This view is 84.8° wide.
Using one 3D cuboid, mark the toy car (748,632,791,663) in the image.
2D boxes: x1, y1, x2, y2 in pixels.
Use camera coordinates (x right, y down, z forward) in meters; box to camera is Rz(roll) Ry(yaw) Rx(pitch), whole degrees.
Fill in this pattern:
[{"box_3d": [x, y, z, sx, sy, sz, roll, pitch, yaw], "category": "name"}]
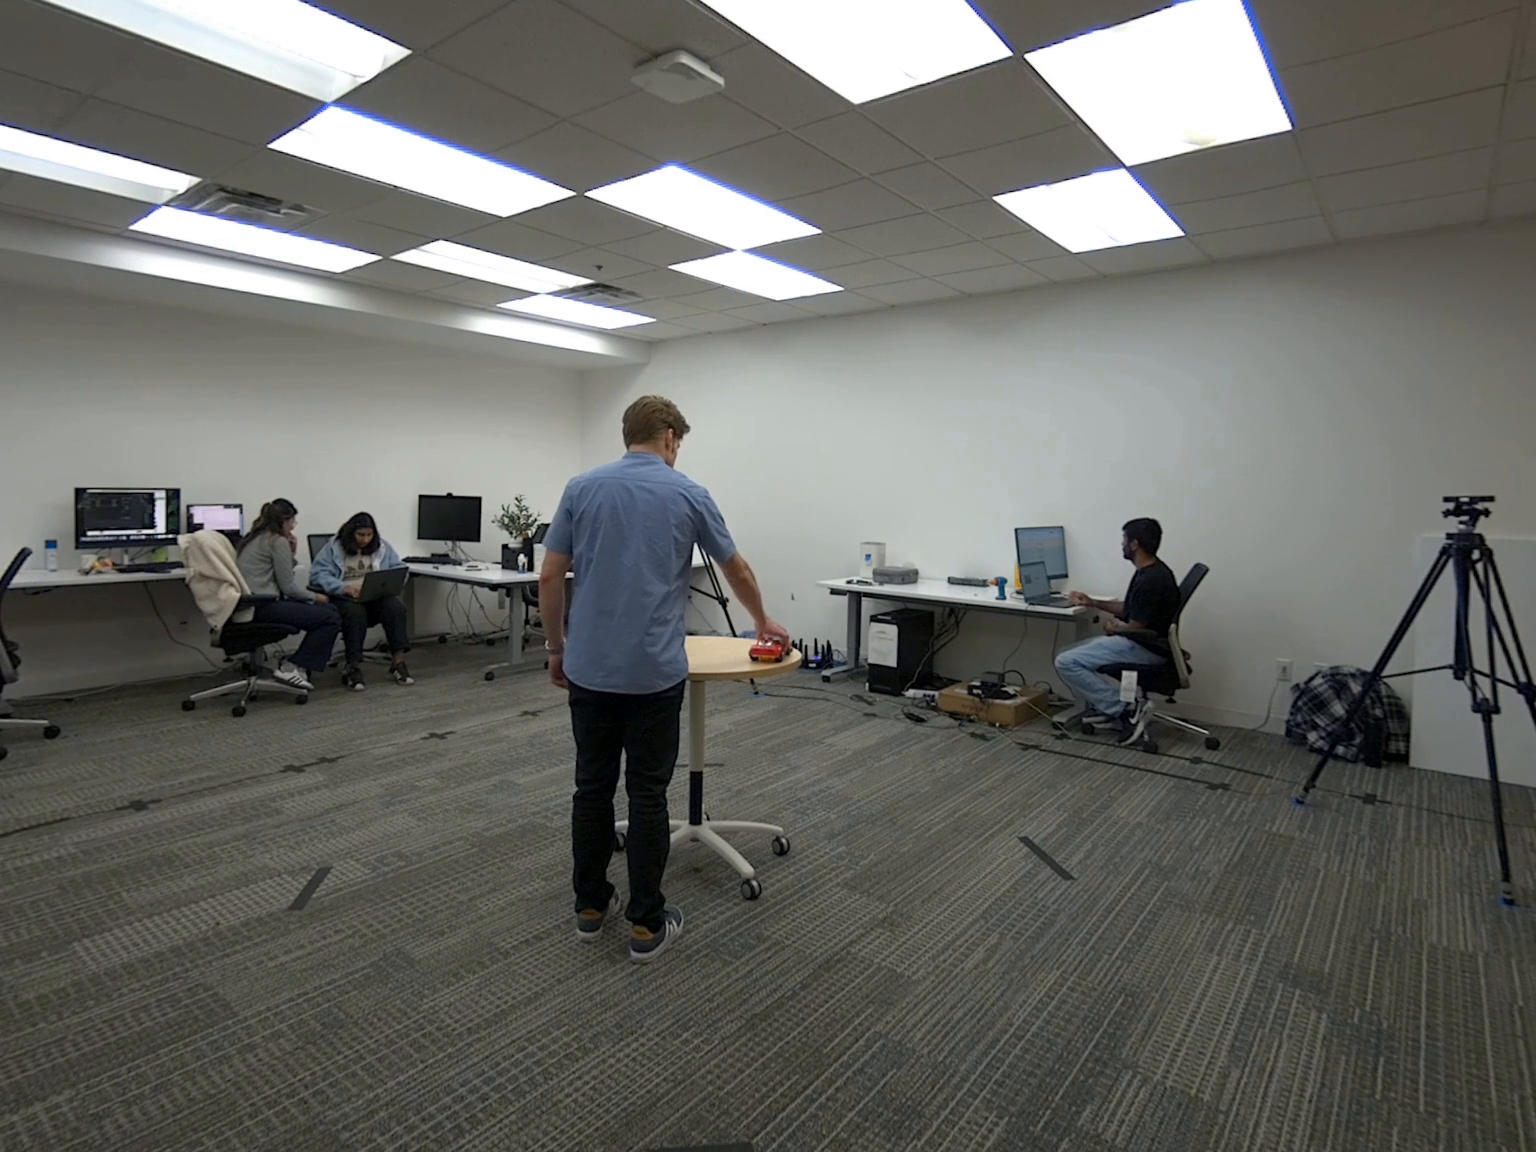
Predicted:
[{"box_3d": [-0.005, 0.261, 3.038, 0.132, 0.084, 0.248, 2, -7, 14], "category": "toy car"}]
